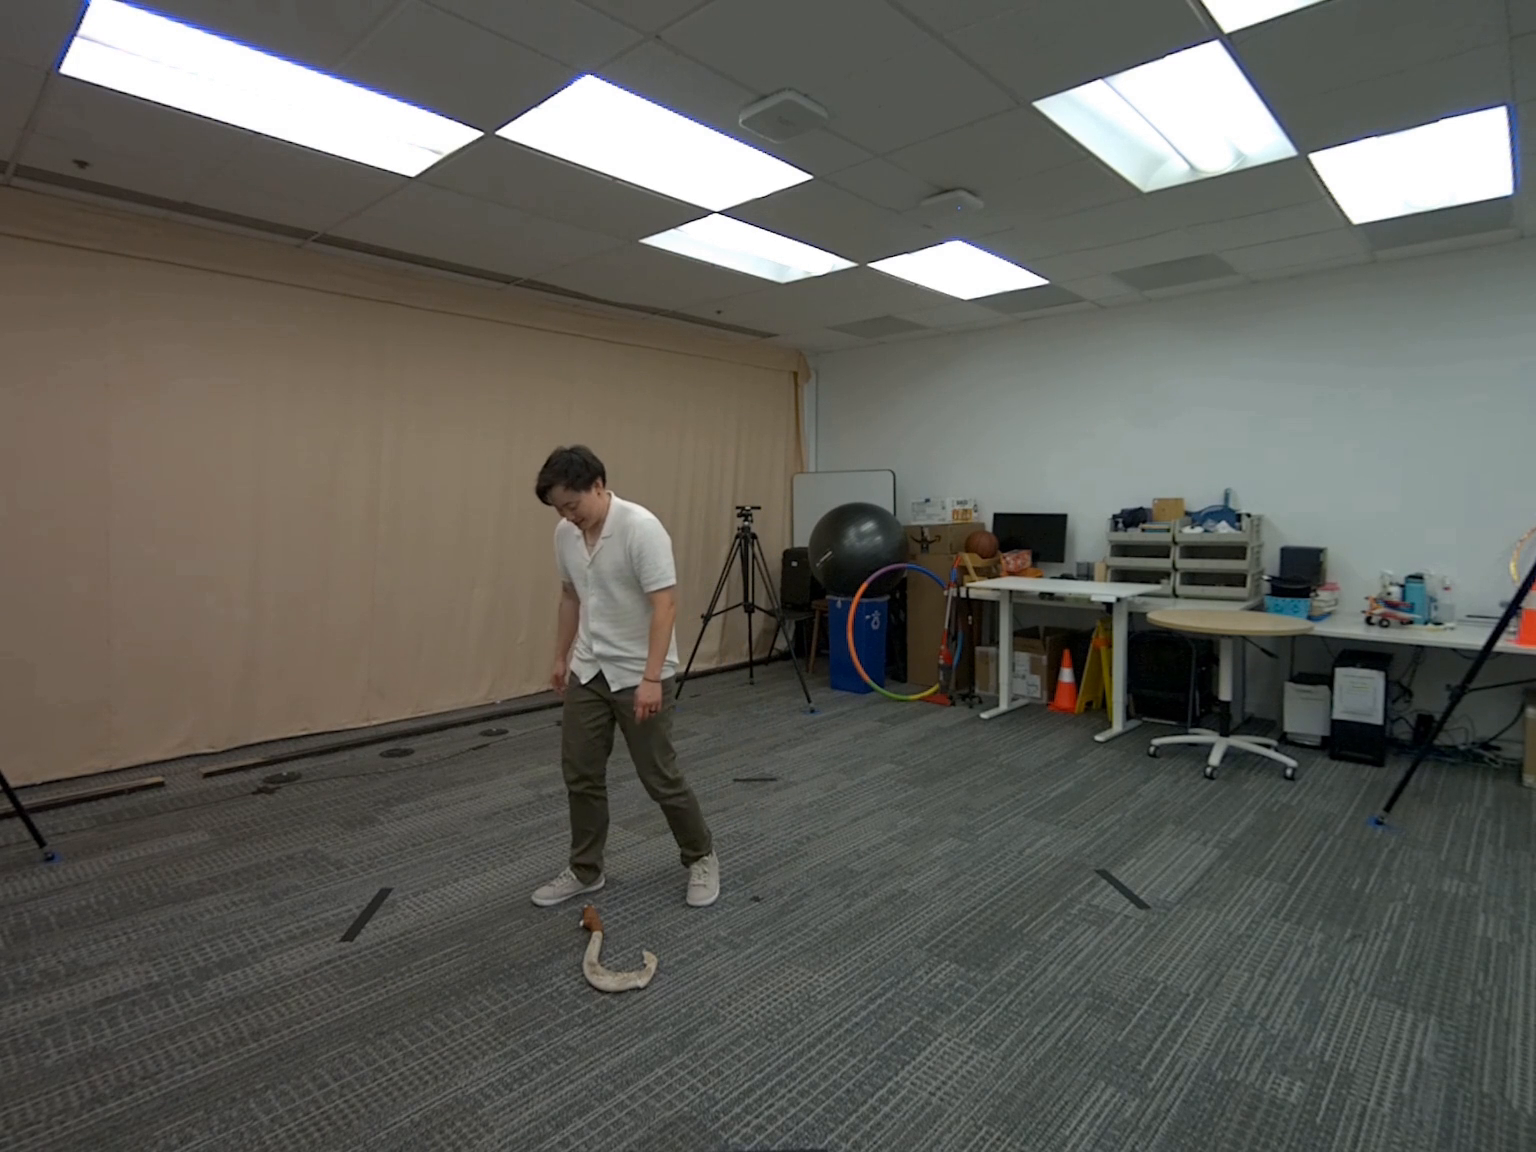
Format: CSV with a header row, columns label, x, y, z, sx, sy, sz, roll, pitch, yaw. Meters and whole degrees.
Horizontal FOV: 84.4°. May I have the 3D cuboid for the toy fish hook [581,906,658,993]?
label,x,y,z,sx,sy,sz,roll,pitch,yaw
toy fish hook,-0.481,1.160,2.643,0.220,0.048,0.517,6,3,-18
